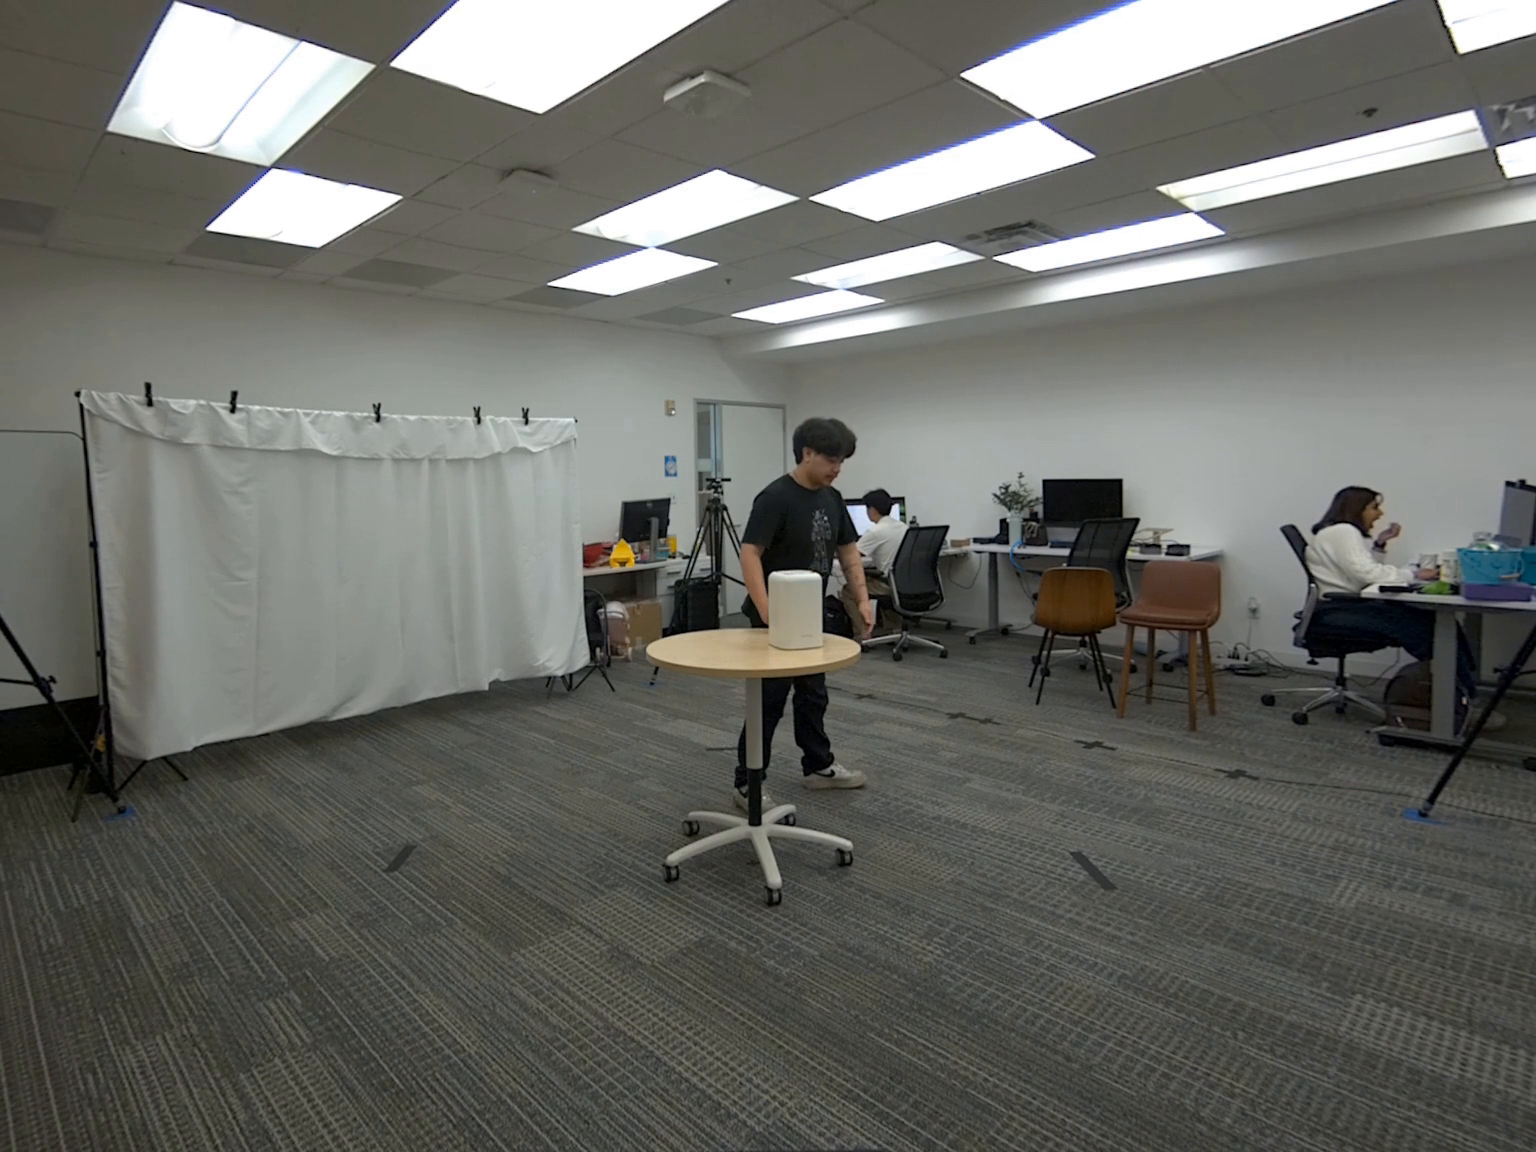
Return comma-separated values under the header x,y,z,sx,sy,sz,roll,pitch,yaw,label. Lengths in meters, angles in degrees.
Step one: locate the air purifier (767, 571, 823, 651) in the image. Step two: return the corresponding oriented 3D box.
x,y,z,sx,sy,sz,roll,pitch,yaw,label
0.099,0.120,3.071,0.168,0.264,0.176,-2,5,-23,air purifier
